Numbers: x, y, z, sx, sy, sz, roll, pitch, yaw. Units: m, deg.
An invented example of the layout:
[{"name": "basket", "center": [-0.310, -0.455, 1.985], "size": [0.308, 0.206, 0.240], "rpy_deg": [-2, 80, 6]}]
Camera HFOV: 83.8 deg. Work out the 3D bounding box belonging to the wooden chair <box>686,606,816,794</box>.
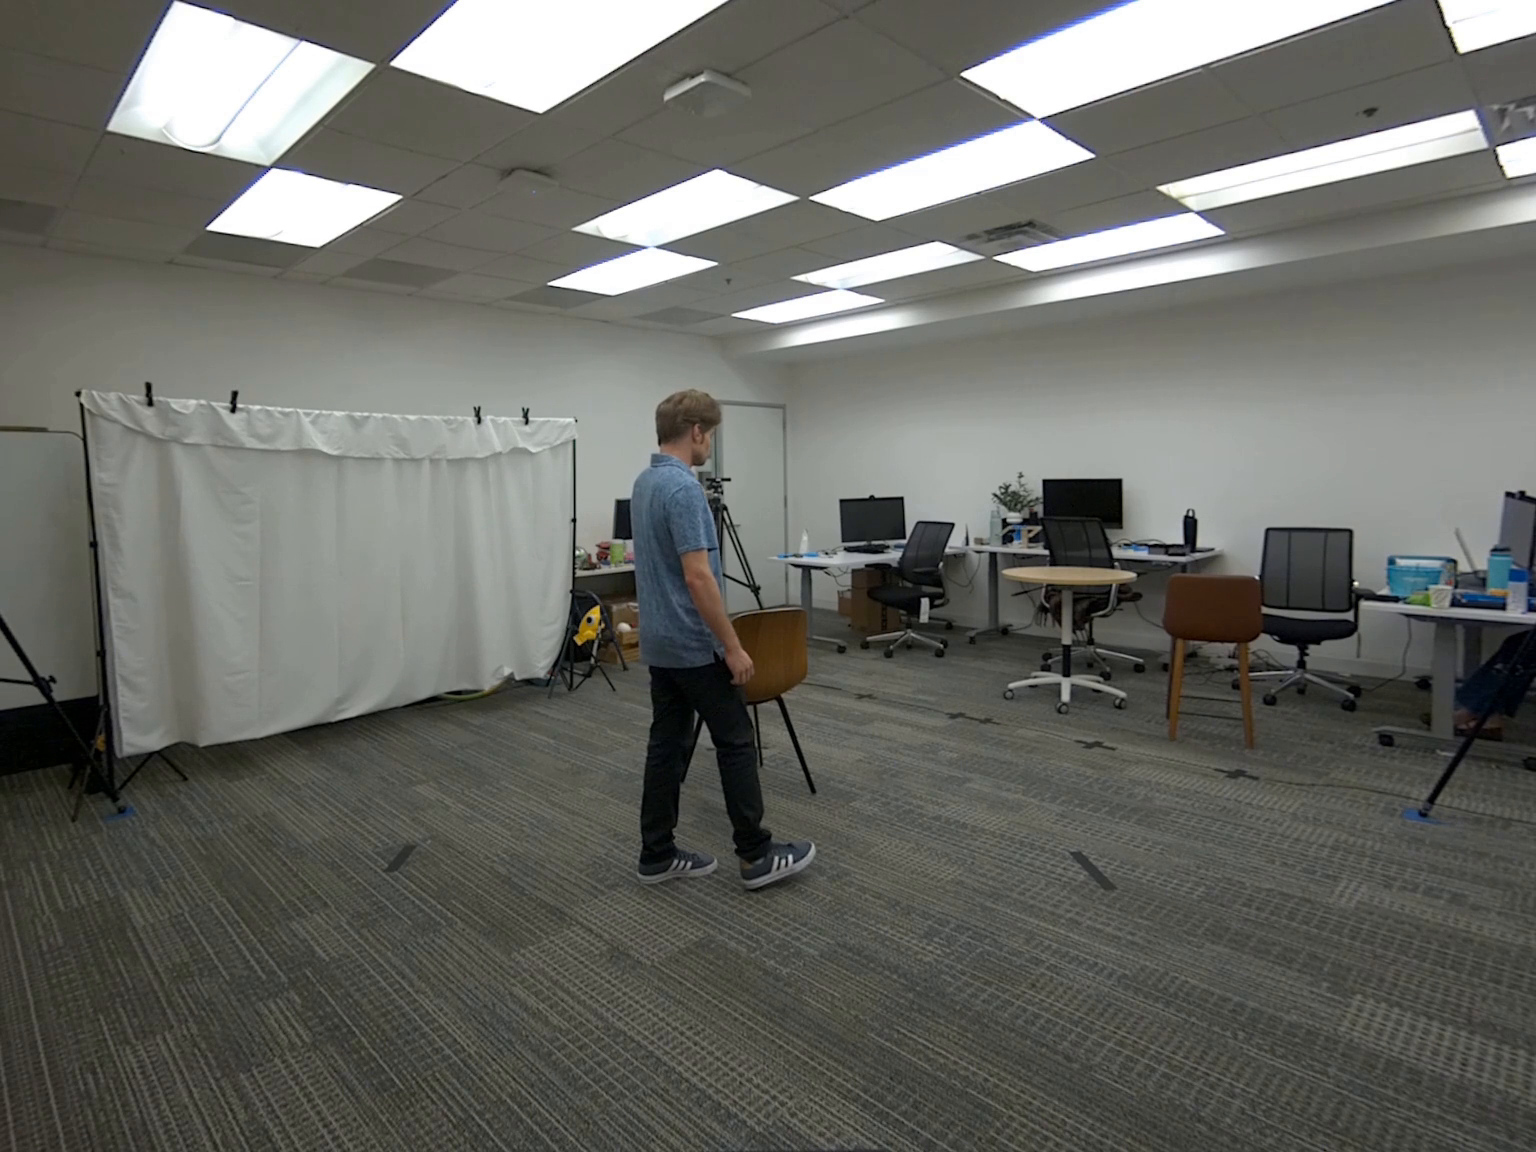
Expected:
[{"name": "wooden chair", "center": [-0.106, 0.532, 3.842], "size": [0.466, 0.871, 0.539], "rpy_deg": [-3, 9, -32]}]
